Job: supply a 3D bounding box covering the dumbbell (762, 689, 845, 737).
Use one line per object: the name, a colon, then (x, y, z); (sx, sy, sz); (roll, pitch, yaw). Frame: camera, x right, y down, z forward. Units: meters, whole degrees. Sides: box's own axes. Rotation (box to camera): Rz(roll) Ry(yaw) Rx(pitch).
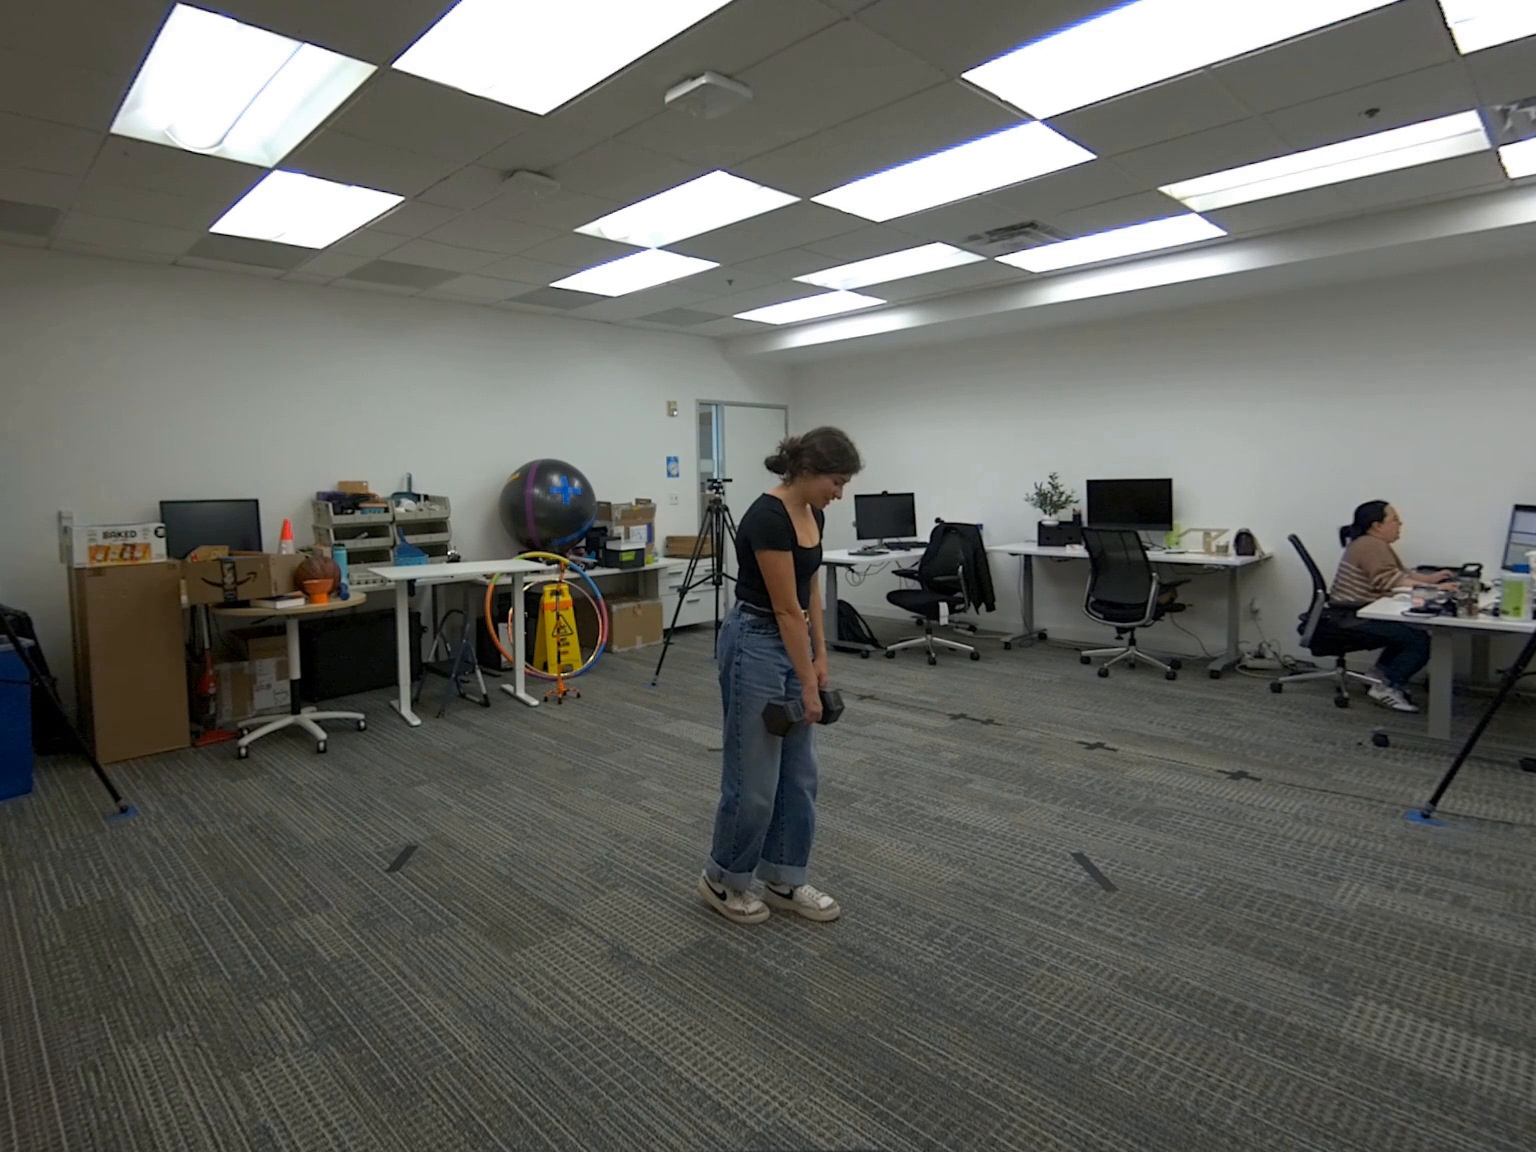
dumbbell: (0.109, 0.414, 2.624); (0.112, 0.122, 0.286); (41, 27, 30)
